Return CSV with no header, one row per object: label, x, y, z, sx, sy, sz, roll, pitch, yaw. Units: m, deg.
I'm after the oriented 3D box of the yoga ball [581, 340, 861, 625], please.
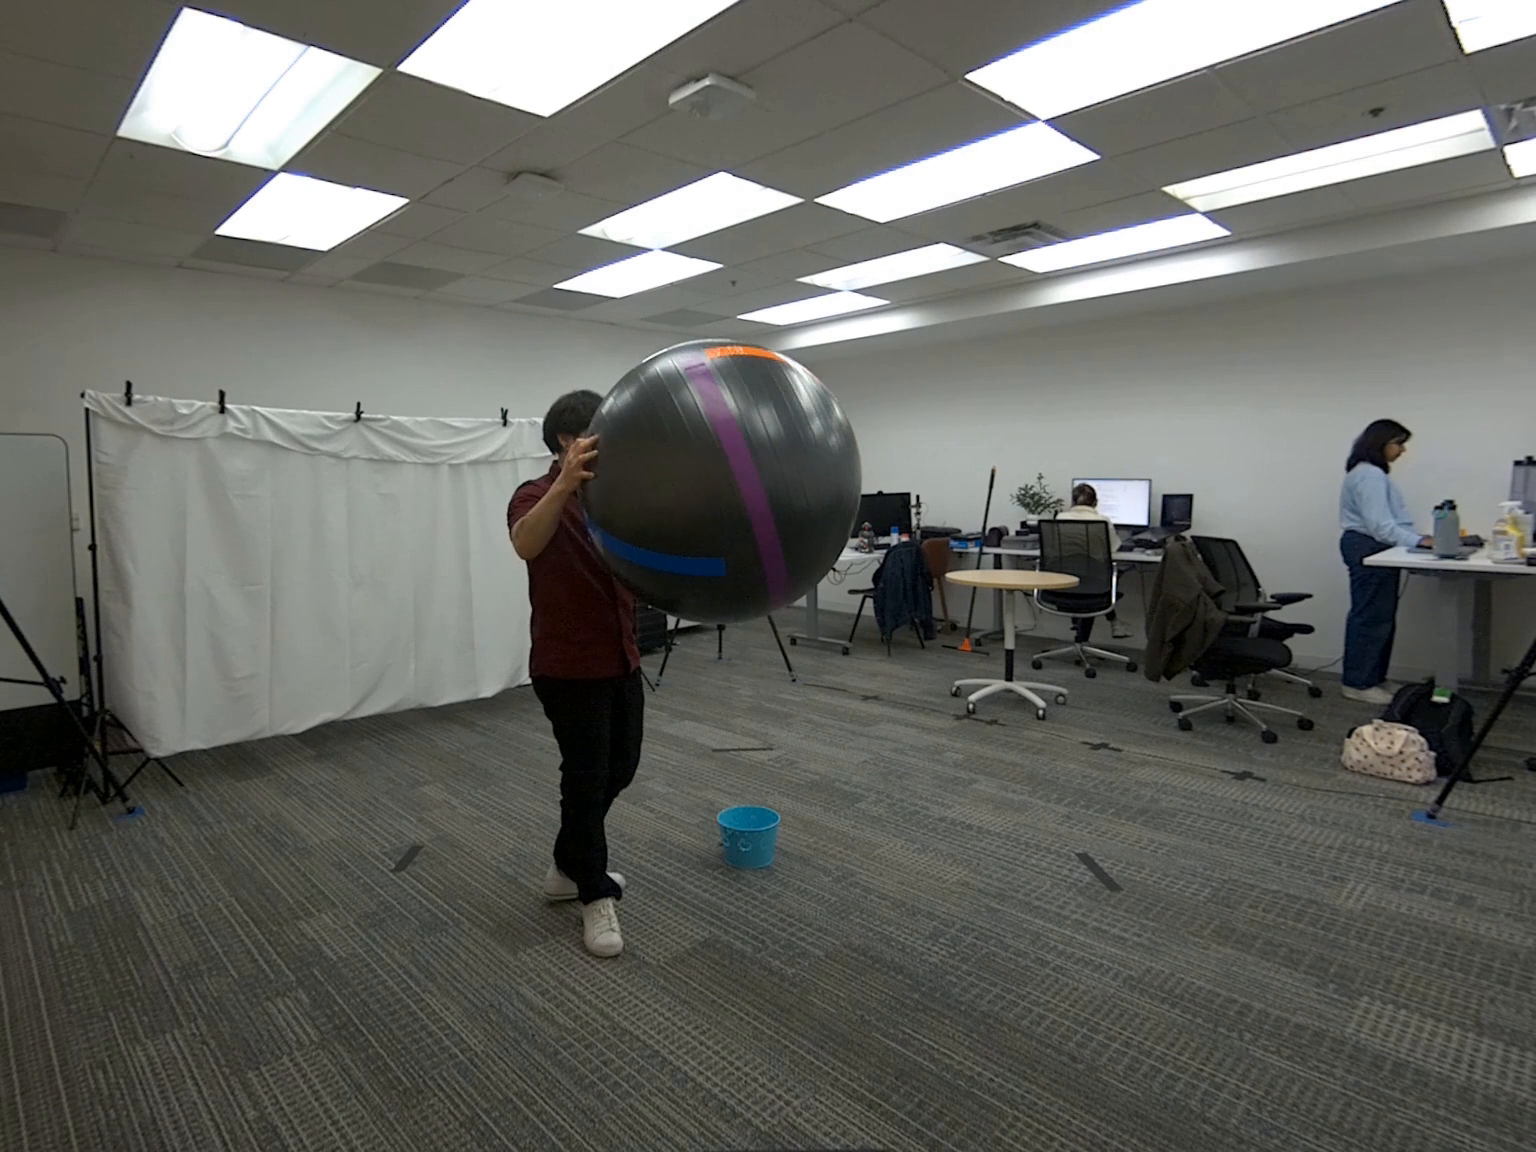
yoga ball,-0.129,-0.249,2.308,0.757,0.755,0.762,-1,5,-2
